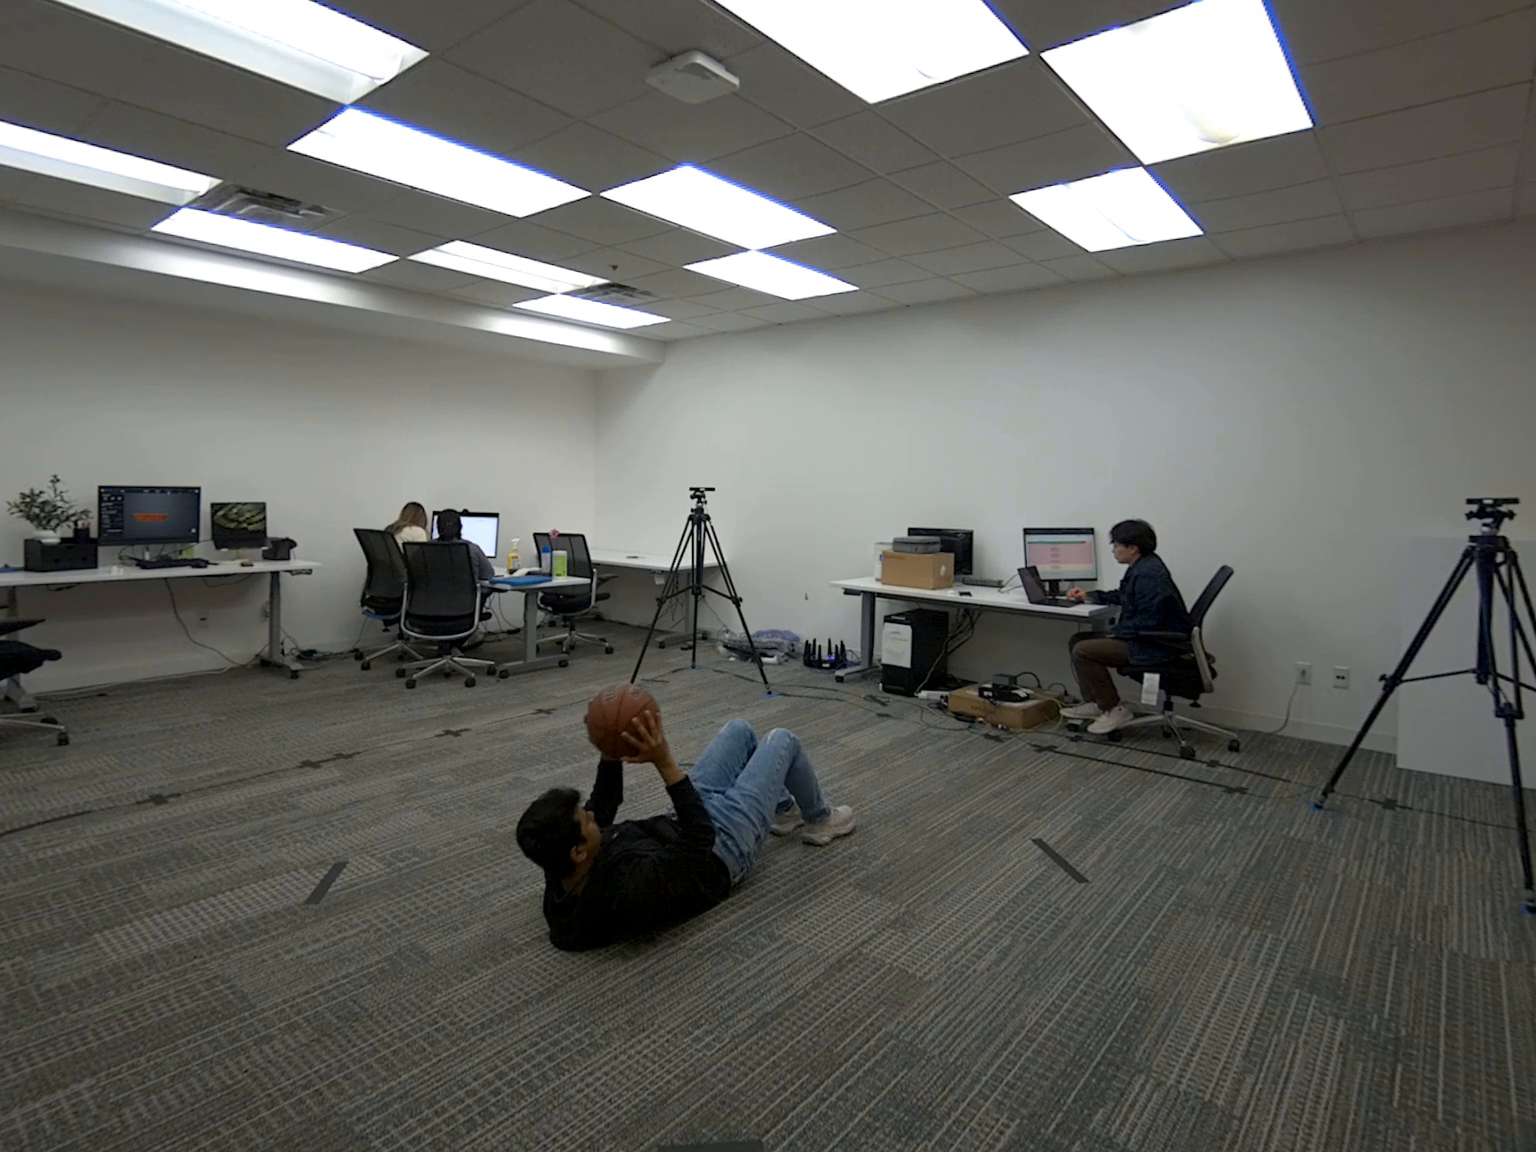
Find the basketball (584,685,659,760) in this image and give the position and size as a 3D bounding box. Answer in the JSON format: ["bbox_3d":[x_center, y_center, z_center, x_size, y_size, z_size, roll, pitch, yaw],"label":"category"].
[{"bbox_3d":[-0.473,0.469,2.716,0.235,0.235,0.237,1,4,-2],"label":"basketball"}]
